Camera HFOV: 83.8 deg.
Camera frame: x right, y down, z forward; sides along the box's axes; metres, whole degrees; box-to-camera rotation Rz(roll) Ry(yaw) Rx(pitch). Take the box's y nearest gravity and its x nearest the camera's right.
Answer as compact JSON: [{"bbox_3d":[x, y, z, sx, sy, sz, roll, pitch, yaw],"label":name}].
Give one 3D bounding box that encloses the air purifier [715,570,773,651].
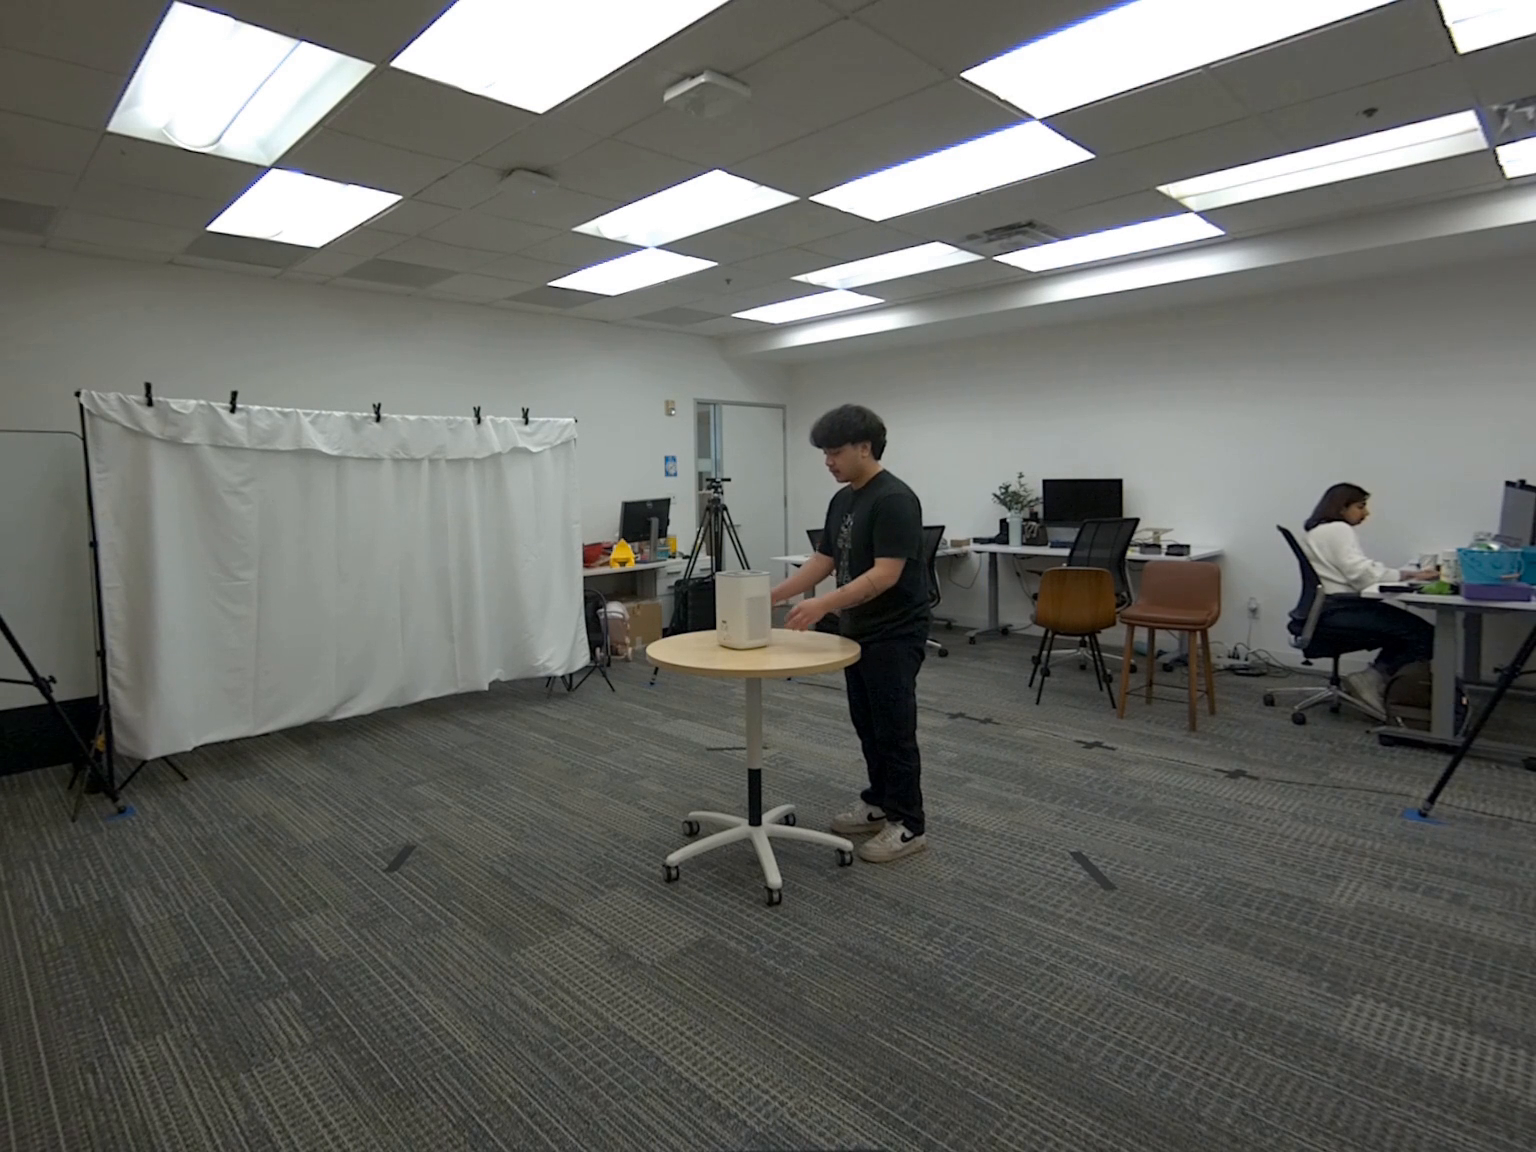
[{"bbox_3d":[-0.086,0.118,3.082,0.167,0.264,0.176,-4,5,-38],"label":"air purifier"}]
